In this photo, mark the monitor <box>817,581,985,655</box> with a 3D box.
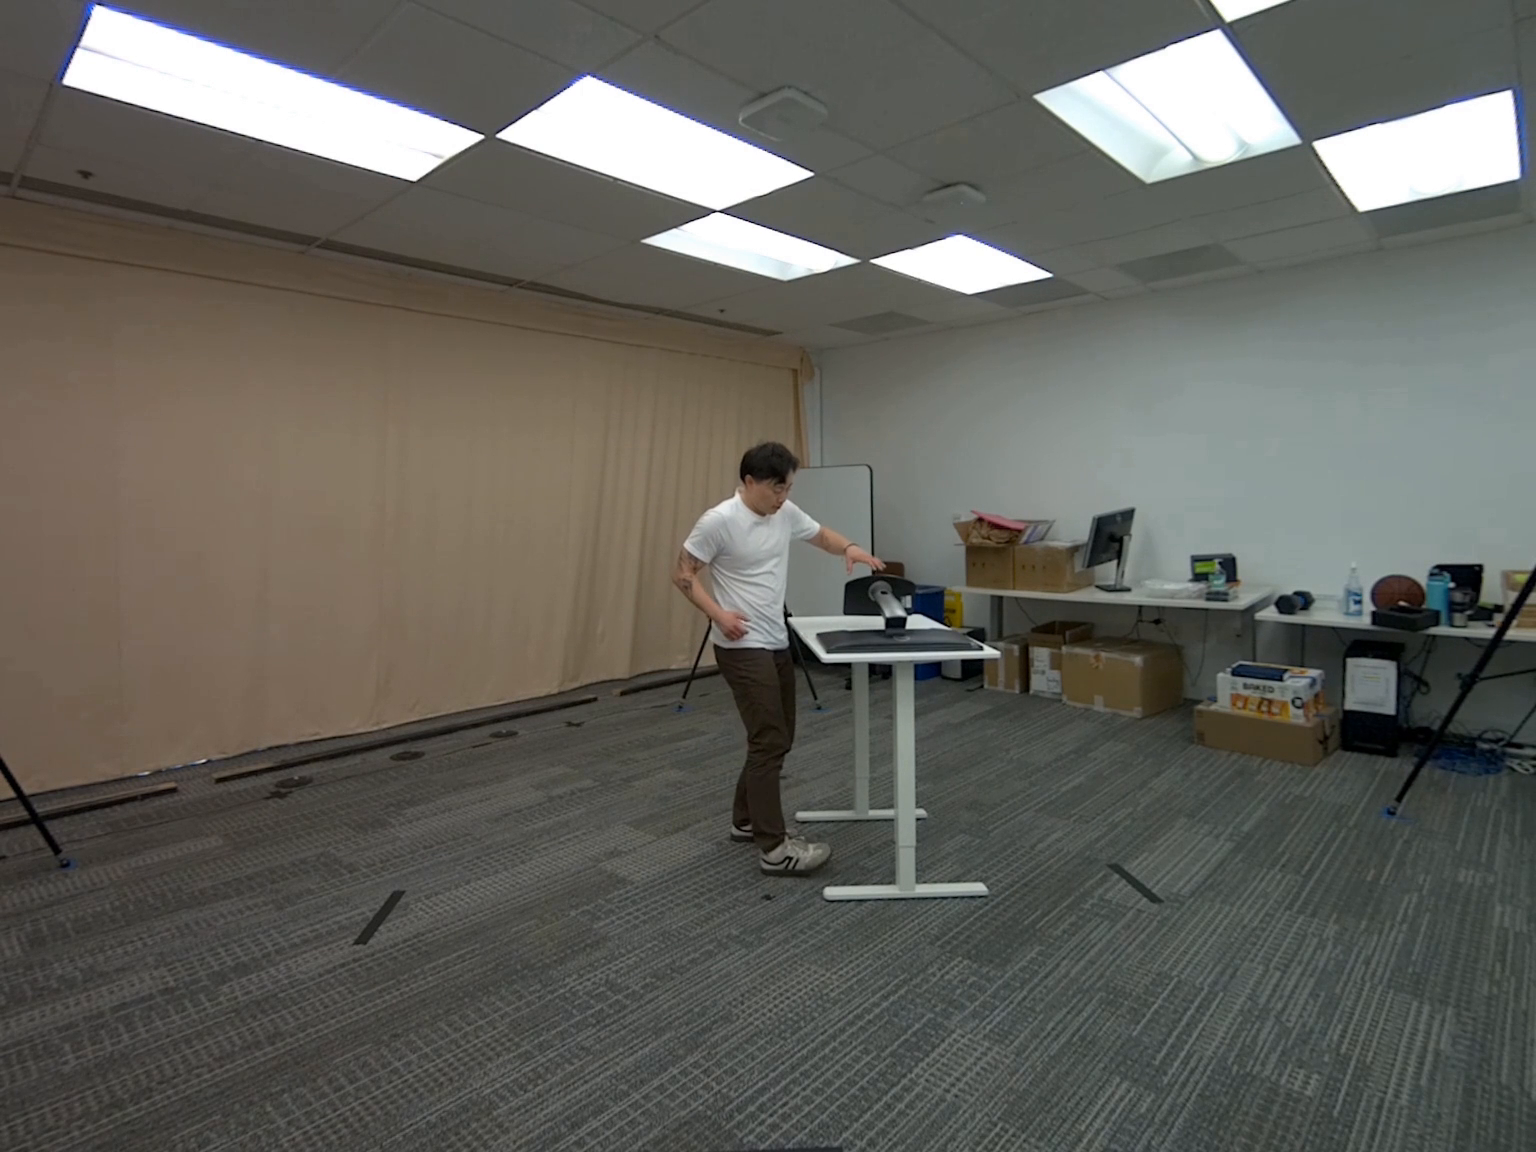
[{"bbox_3d":[0.467,0.179,3.115,0.539,0.184,0.530,-3,22,-2],"label":"monitor"}]
